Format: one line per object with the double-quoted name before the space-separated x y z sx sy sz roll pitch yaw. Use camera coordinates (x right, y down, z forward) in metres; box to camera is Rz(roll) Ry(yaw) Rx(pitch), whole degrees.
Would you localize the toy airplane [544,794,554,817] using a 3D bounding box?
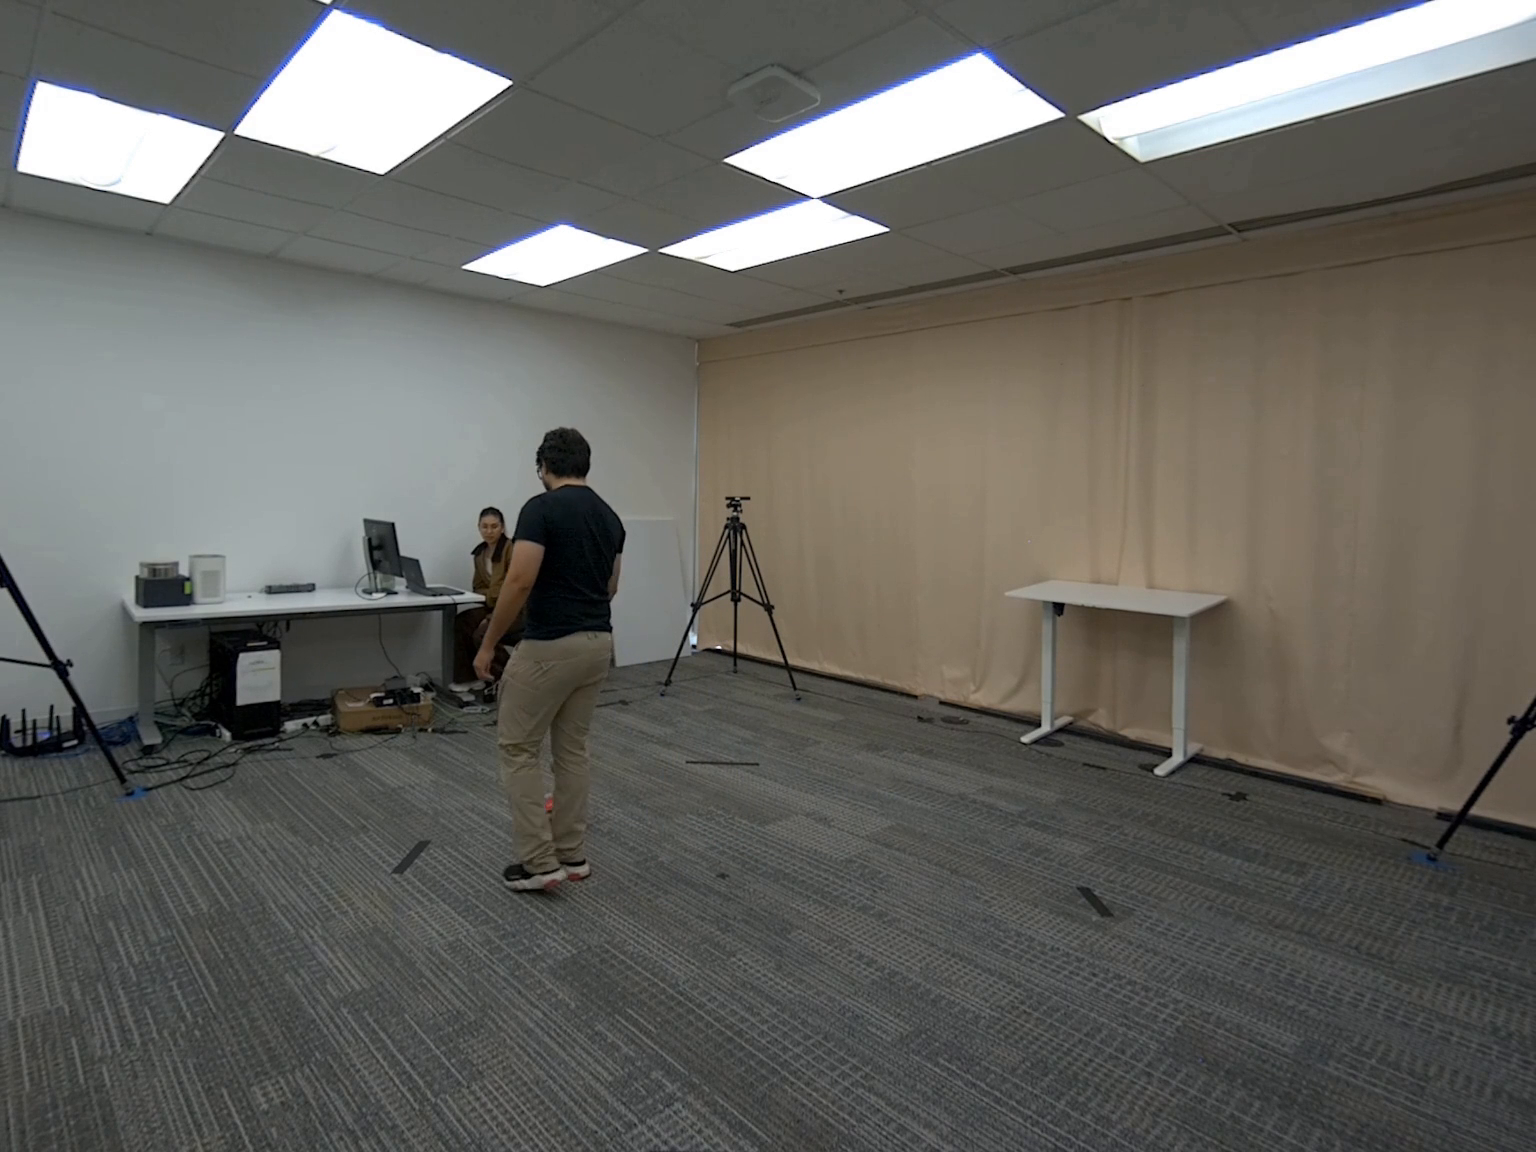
"toy airplane" -0.900 0.988 3.465 0.254 0.156 0.257 0 5 -29
